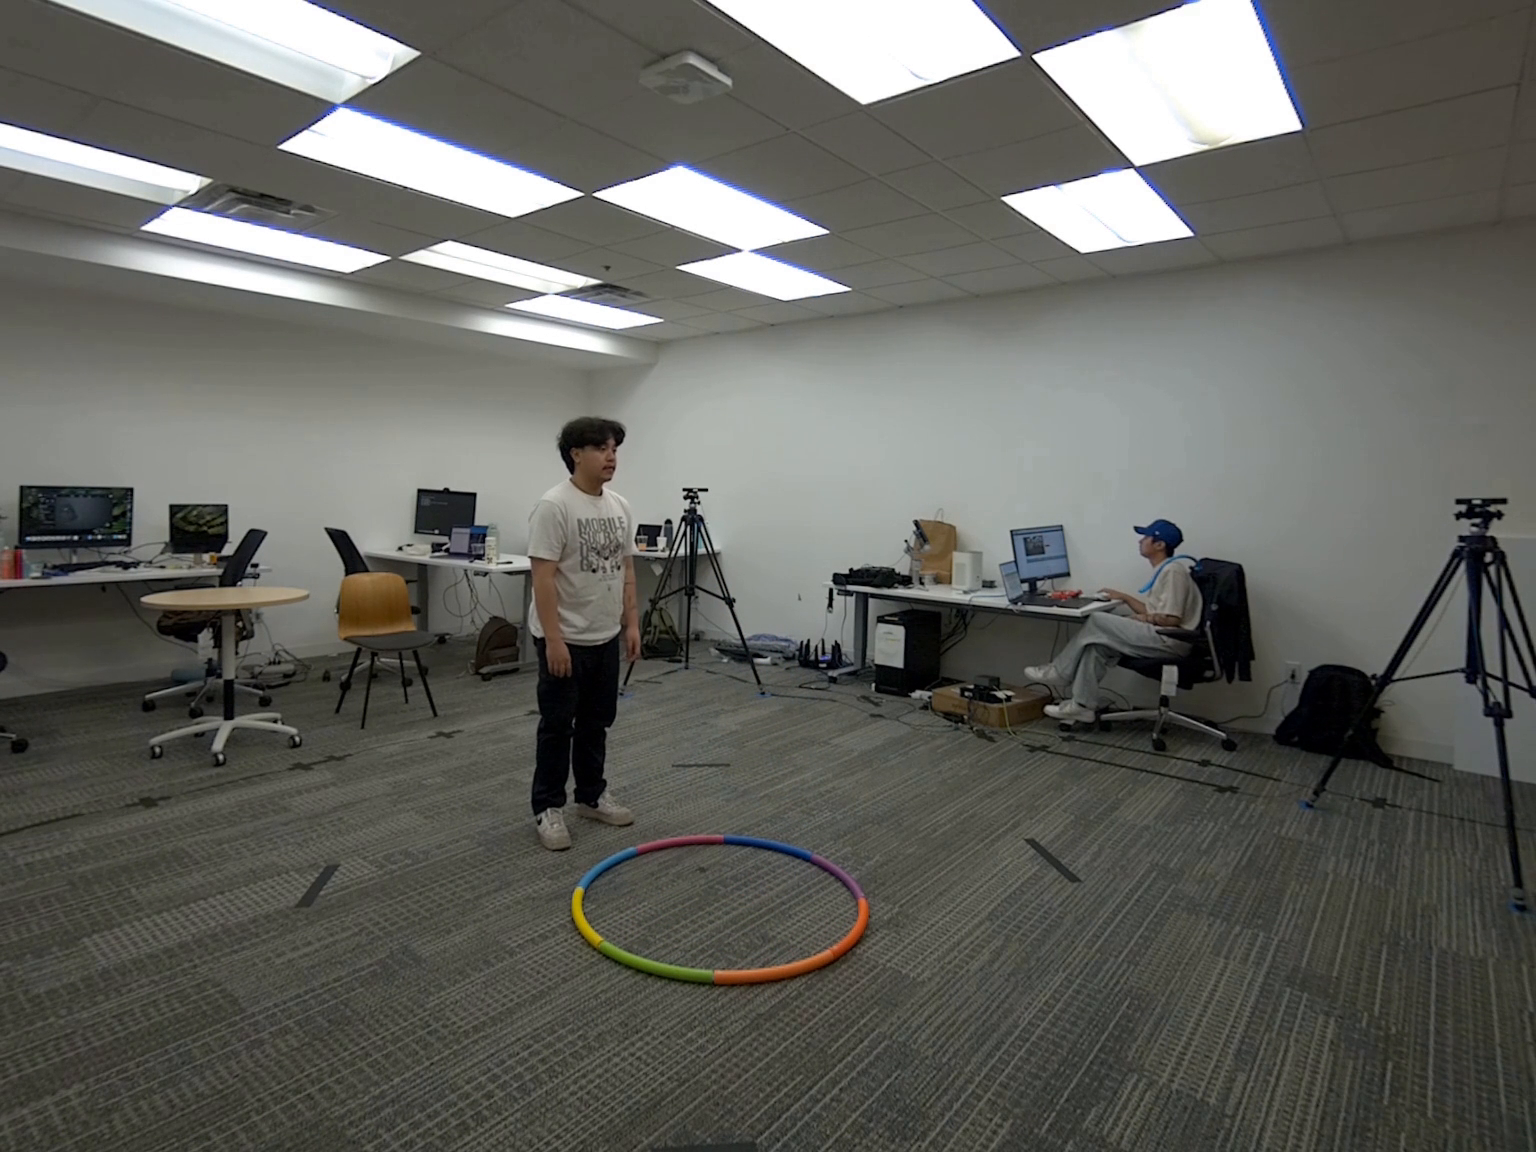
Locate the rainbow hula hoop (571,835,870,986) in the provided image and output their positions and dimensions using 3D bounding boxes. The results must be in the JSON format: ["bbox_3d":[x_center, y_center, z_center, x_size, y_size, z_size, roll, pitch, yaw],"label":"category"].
[{"bbox_3d":[-0.170,1.067,2.860,0.984,0.051,0.990,1,5,-2],"label":"rainbow hula hoop"}]
